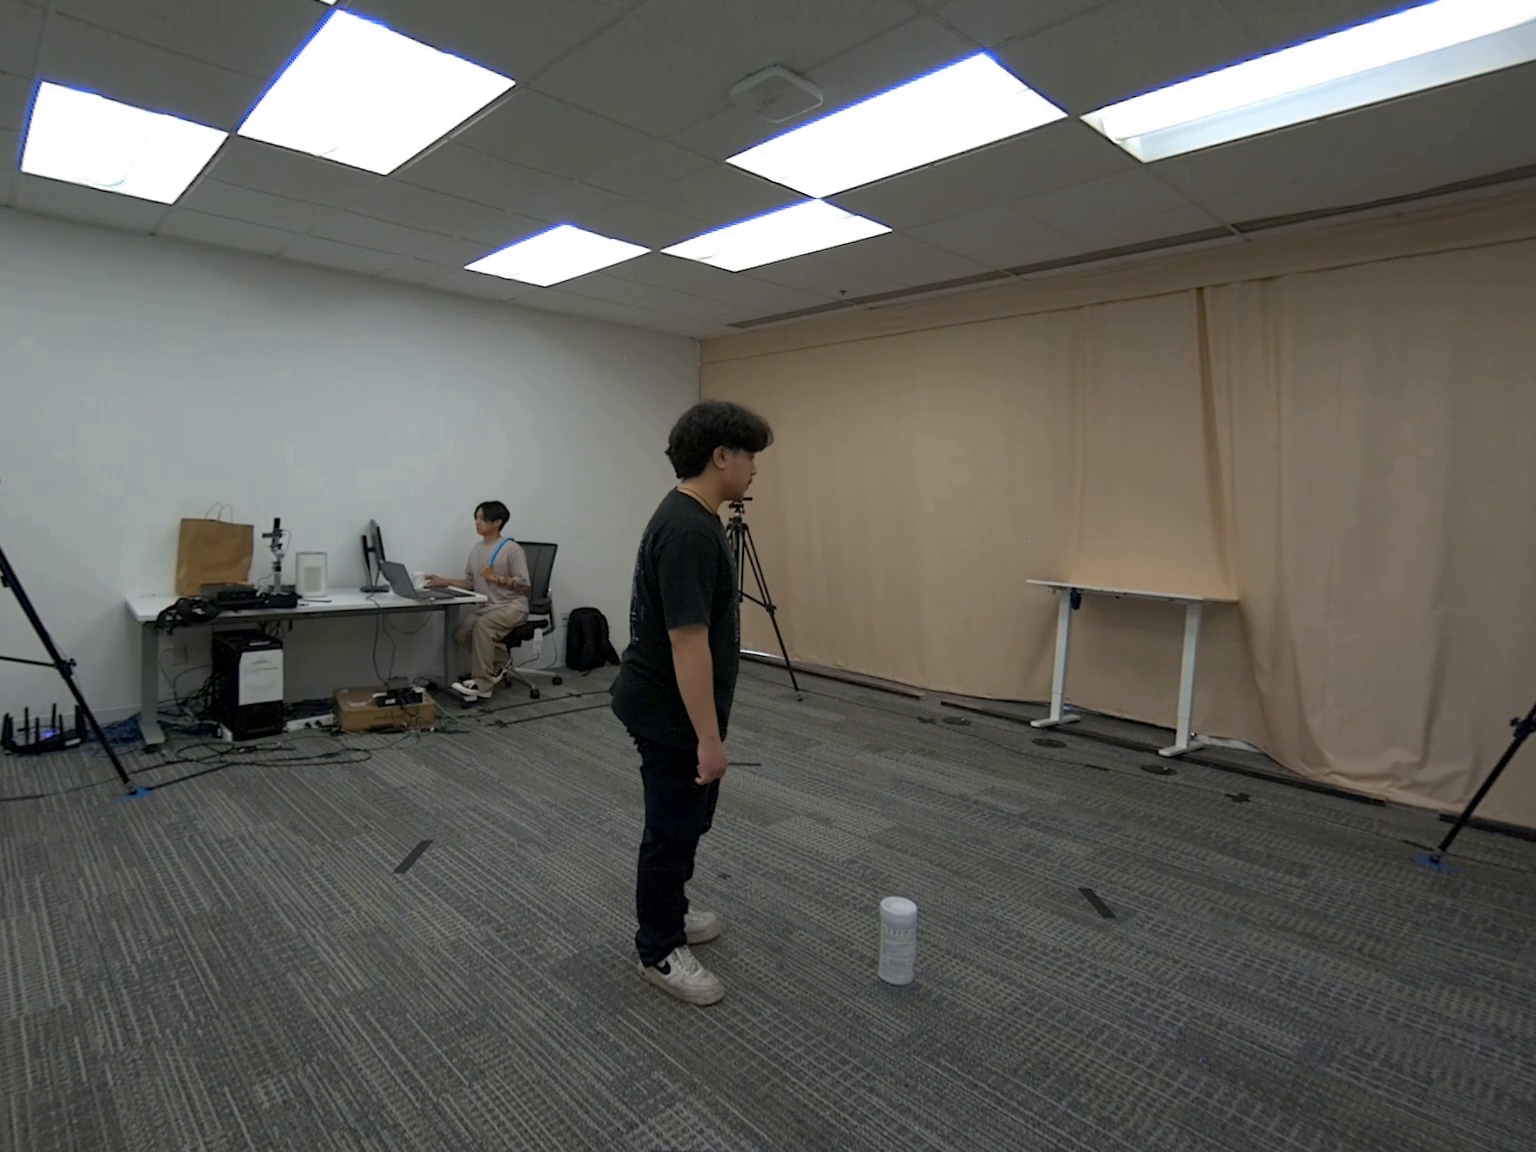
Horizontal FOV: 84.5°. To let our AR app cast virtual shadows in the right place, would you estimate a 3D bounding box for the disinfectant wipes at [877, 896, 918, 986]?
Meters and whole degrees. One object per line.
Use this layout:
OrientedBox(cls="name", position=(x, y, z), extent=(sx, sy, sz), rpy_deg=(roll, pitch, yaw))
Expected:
OrientedBox(cls="disinfectant wipes", position=(0.376, 1.078, 2.470), extent=(0.118, 0.216, 0.118), rpy_deg=(2, 6, -2))
